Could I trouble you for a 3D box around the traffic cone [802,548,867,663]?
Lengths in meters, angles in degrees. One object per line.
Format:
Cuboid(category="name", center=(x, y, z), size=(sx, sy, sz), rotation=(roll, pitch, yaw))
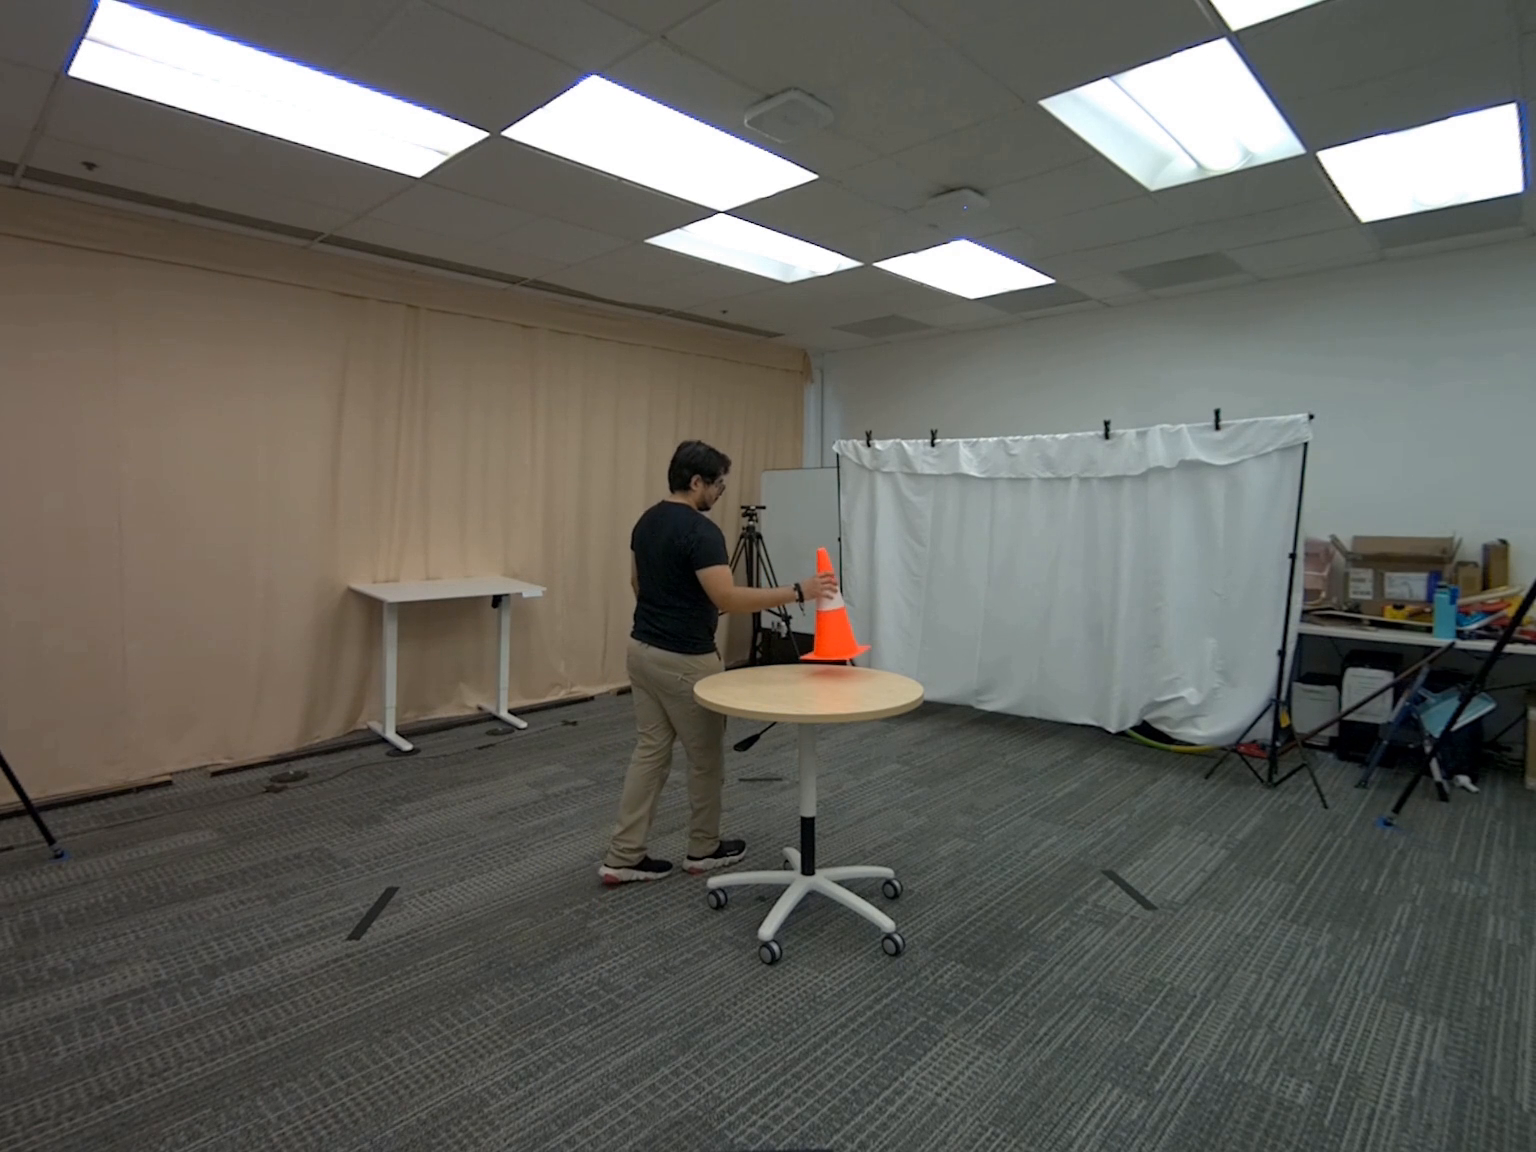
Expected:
Cuboid(category="traffic cone", center=(0.216, 0.096, 3.016), size=(0.210, 0.383, 0.199), rotation=(-5, 4, 28))
